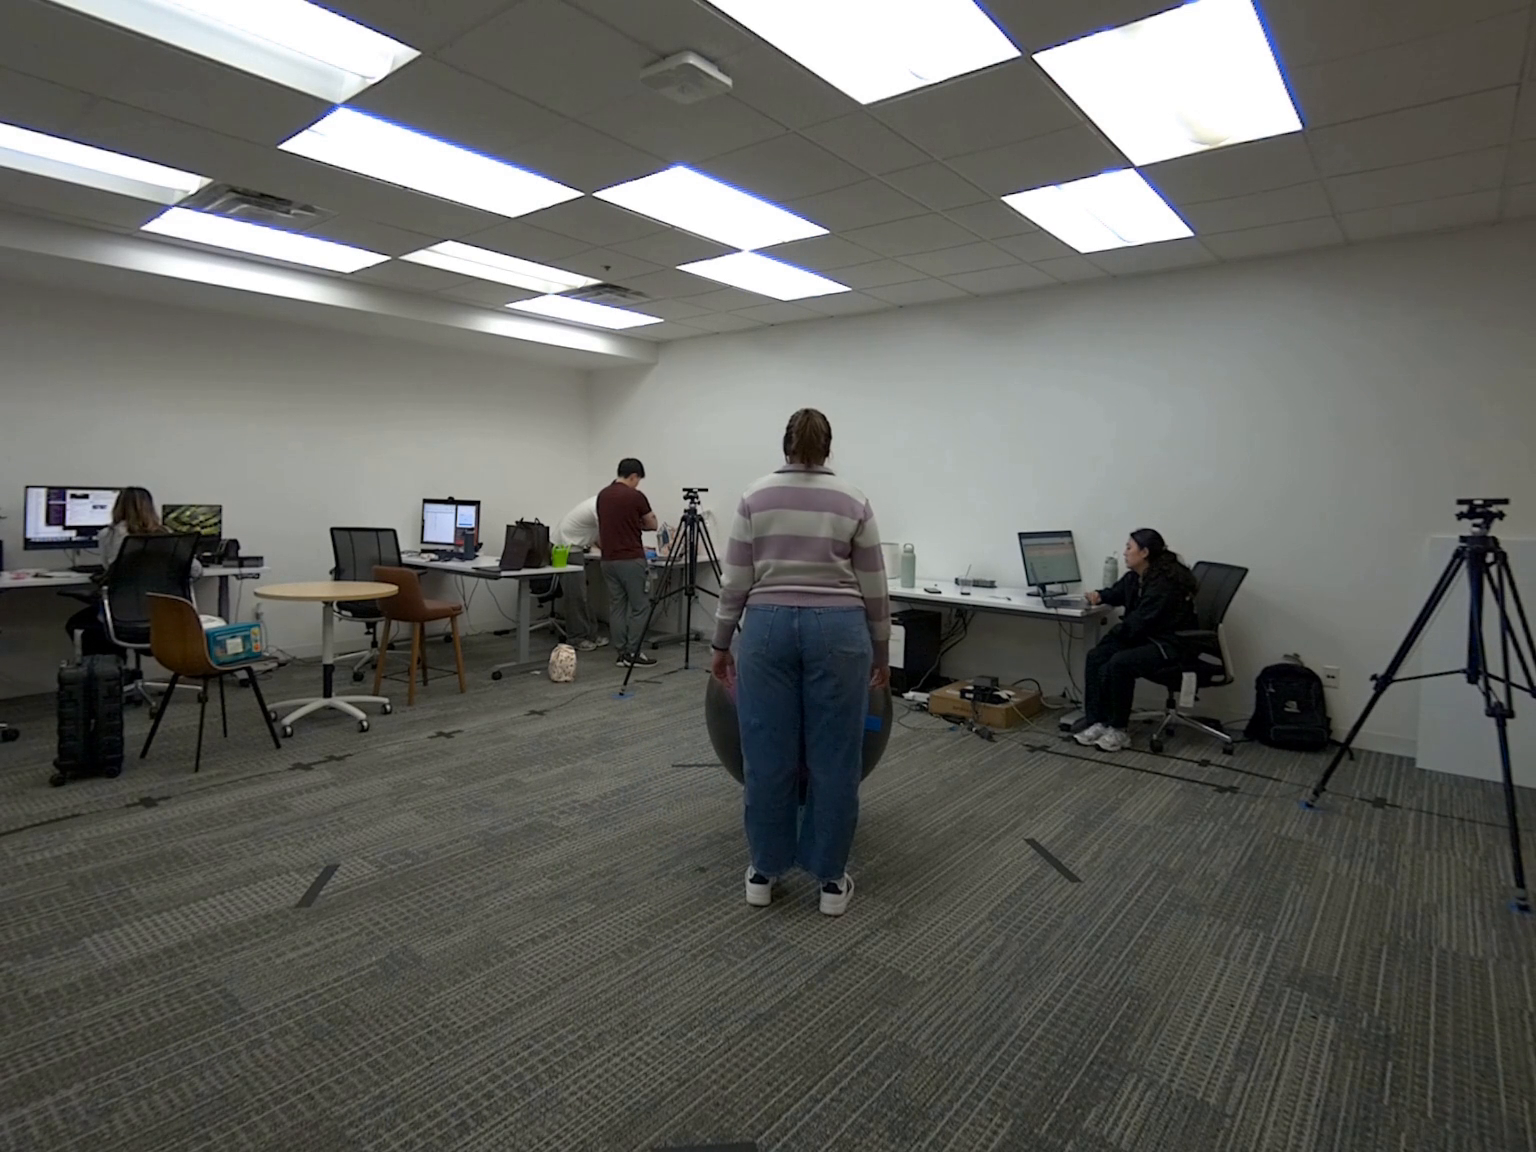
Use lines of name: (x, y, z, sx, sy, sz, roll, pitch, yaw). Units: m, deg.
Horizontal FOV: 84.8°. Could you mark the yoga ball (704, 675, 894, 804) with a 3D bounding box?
yoga ball: (0.132, 0.534, 3.456, 0.757, 0.756, 0.761, 1, 4, -2)
